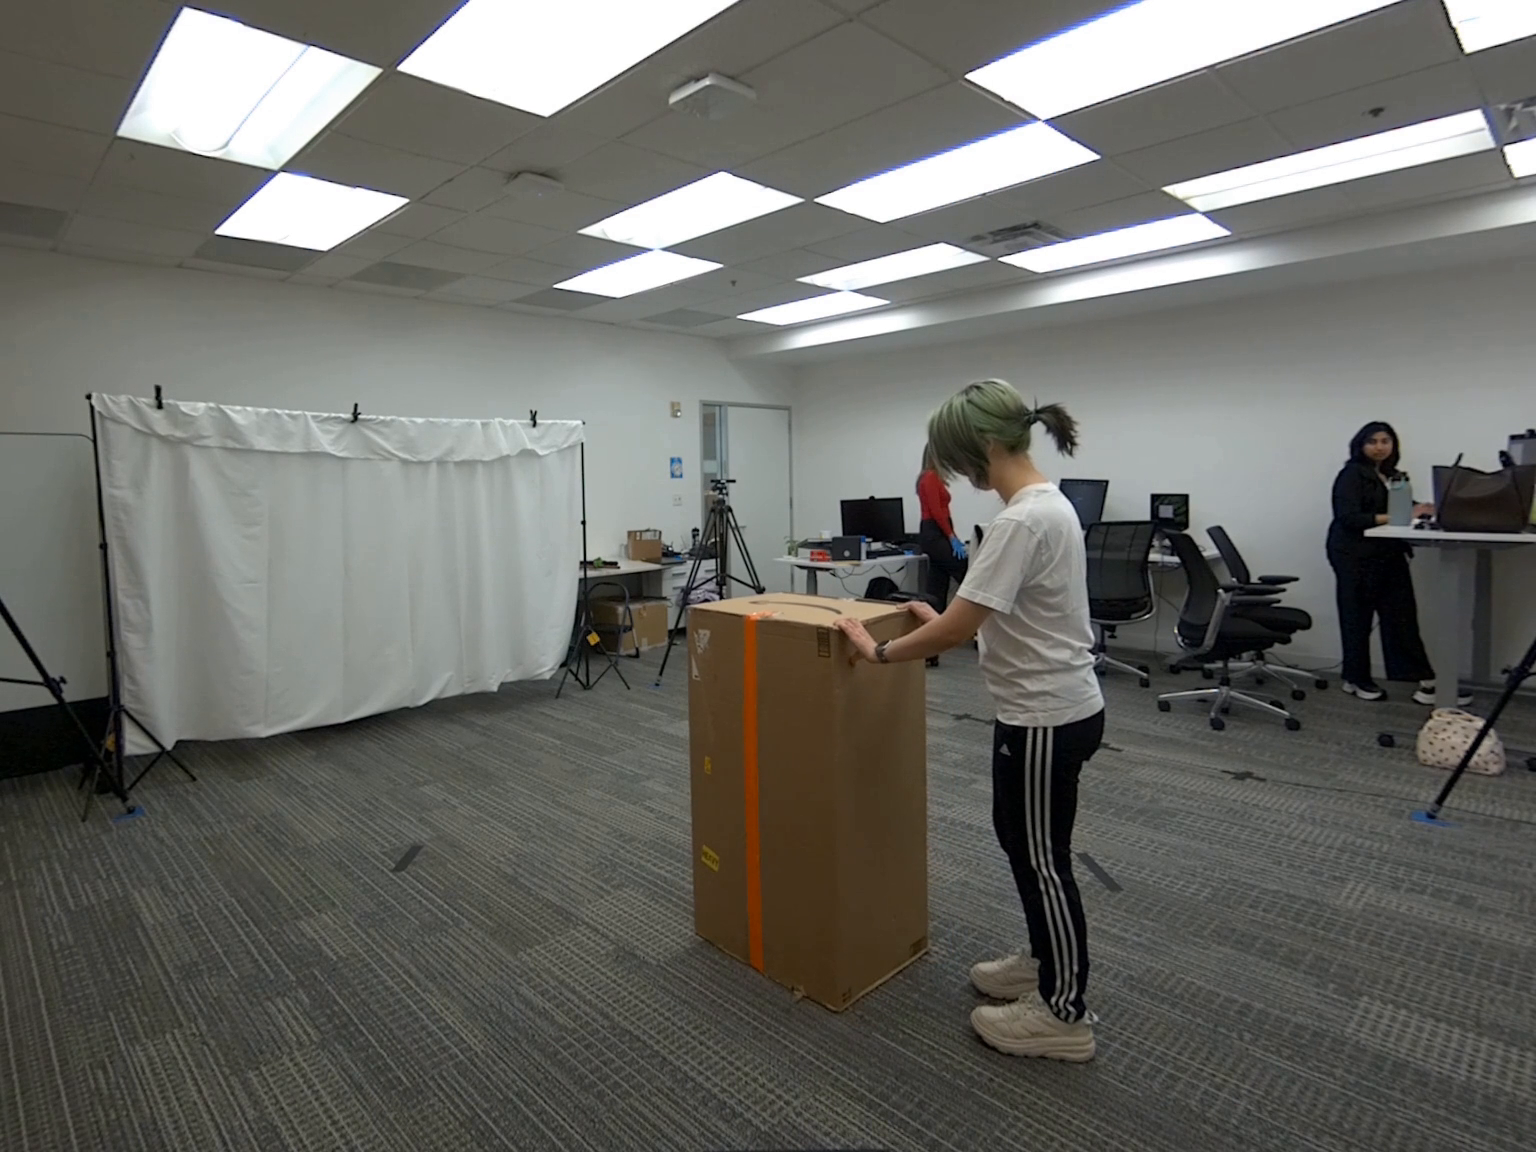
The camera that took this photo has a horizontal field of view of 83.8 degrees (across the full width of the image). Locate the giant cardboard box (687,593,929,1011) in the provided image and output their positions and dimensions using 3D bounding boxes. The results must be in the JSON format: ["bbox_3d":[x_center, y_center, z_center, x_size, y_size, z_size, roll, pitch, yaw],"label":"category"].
[{"bbox_3d":[0.114,0.602,2.543,0.602,1.024,0.435,3,5,45],"label":"giant cardboard box"}]
